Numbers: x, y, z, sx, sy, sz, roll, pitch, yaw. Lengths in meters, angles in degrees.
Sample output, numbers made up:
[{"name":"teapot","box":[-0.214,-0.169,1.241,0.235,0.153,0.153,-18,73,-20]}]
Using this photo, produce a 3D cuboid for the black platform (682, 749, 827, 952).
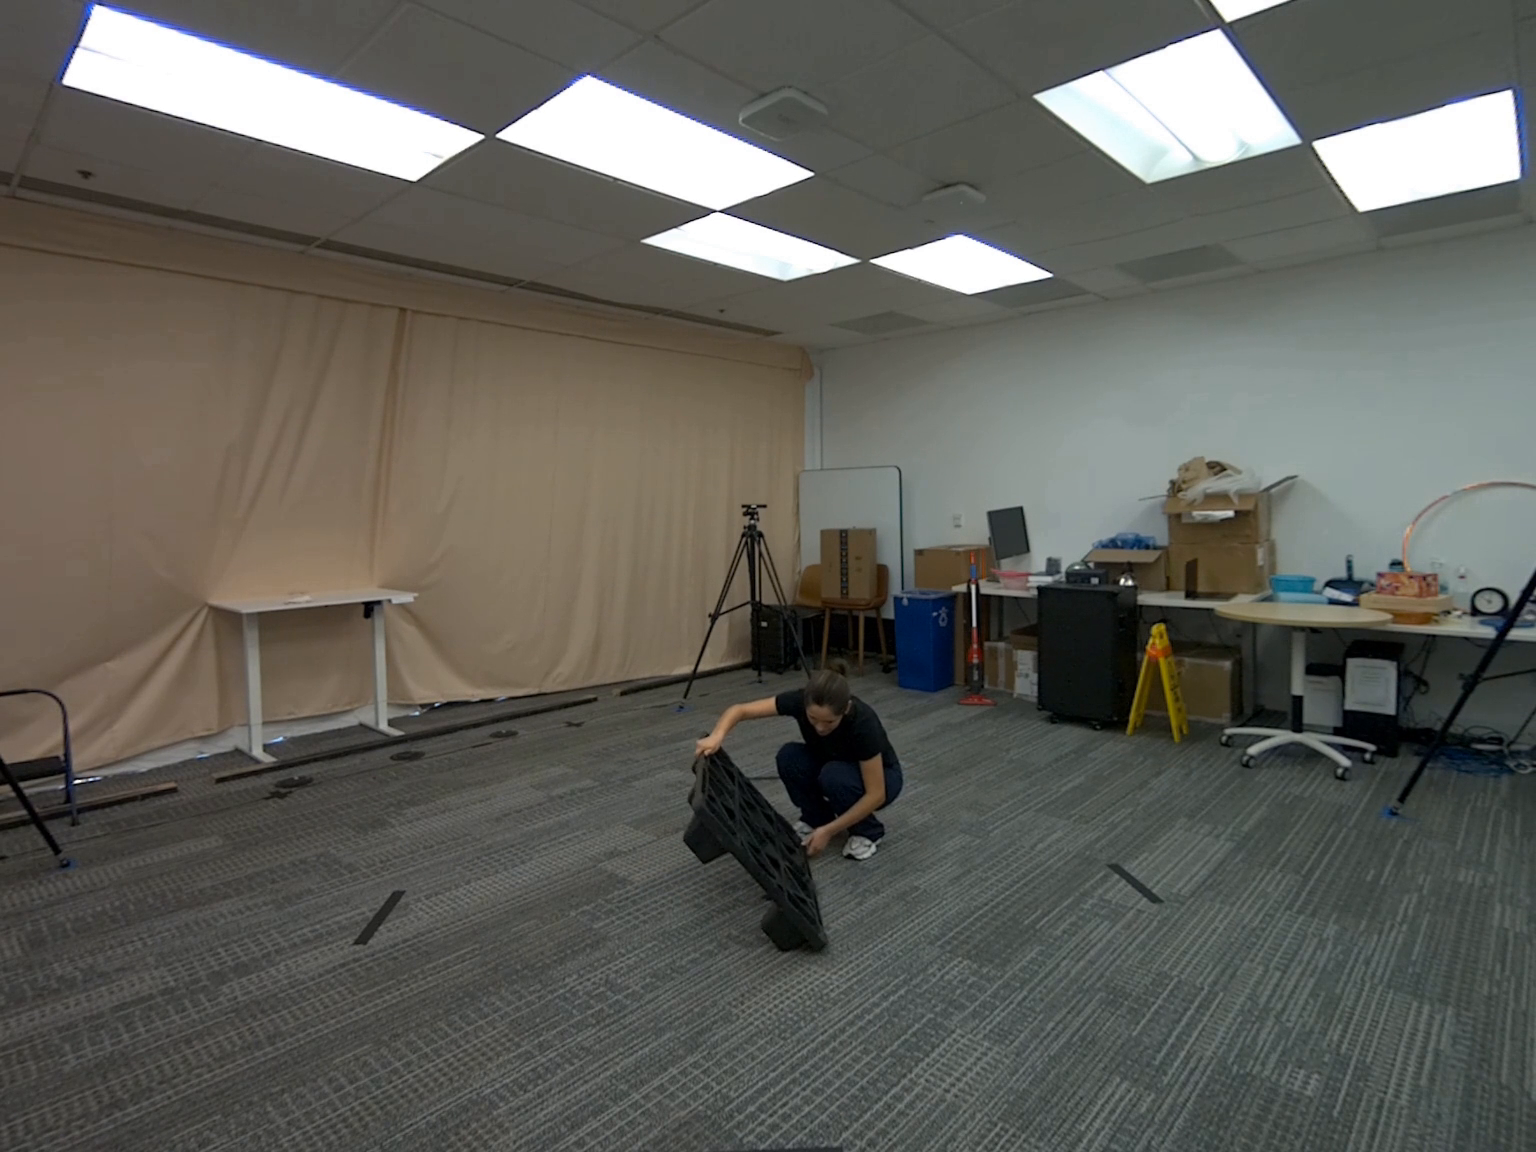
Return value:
[{"name":"black platform","box":[-0.073,0.910,2.964,0.143,0.603,0.808,-41,4,1]}]
